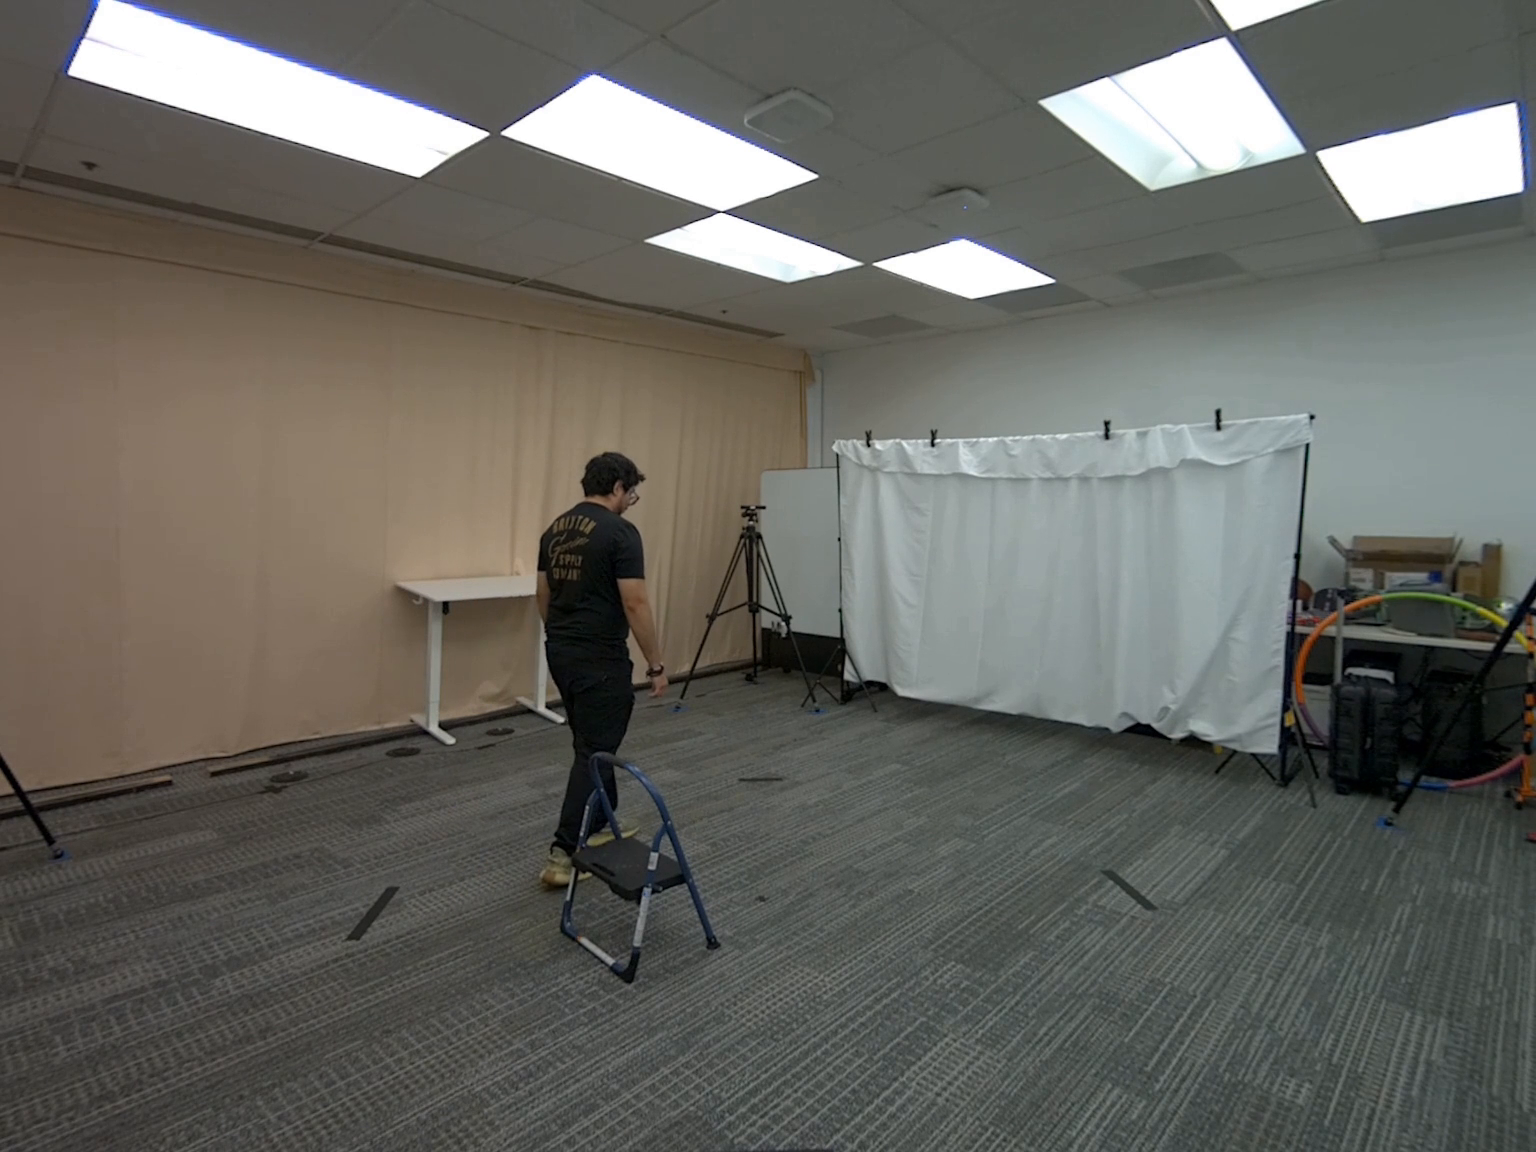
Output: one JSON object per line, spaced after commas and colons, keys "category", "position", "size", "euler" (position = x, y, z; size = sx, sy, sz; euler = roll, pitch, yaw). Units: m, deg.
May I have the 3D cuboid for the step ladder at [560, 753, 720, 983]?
{"category": "step ladder", "position": [-0.420, 0.868, 2.701], "size": [0.338, 0.605, 0.445], "euler": [-3, 4, -42]}
